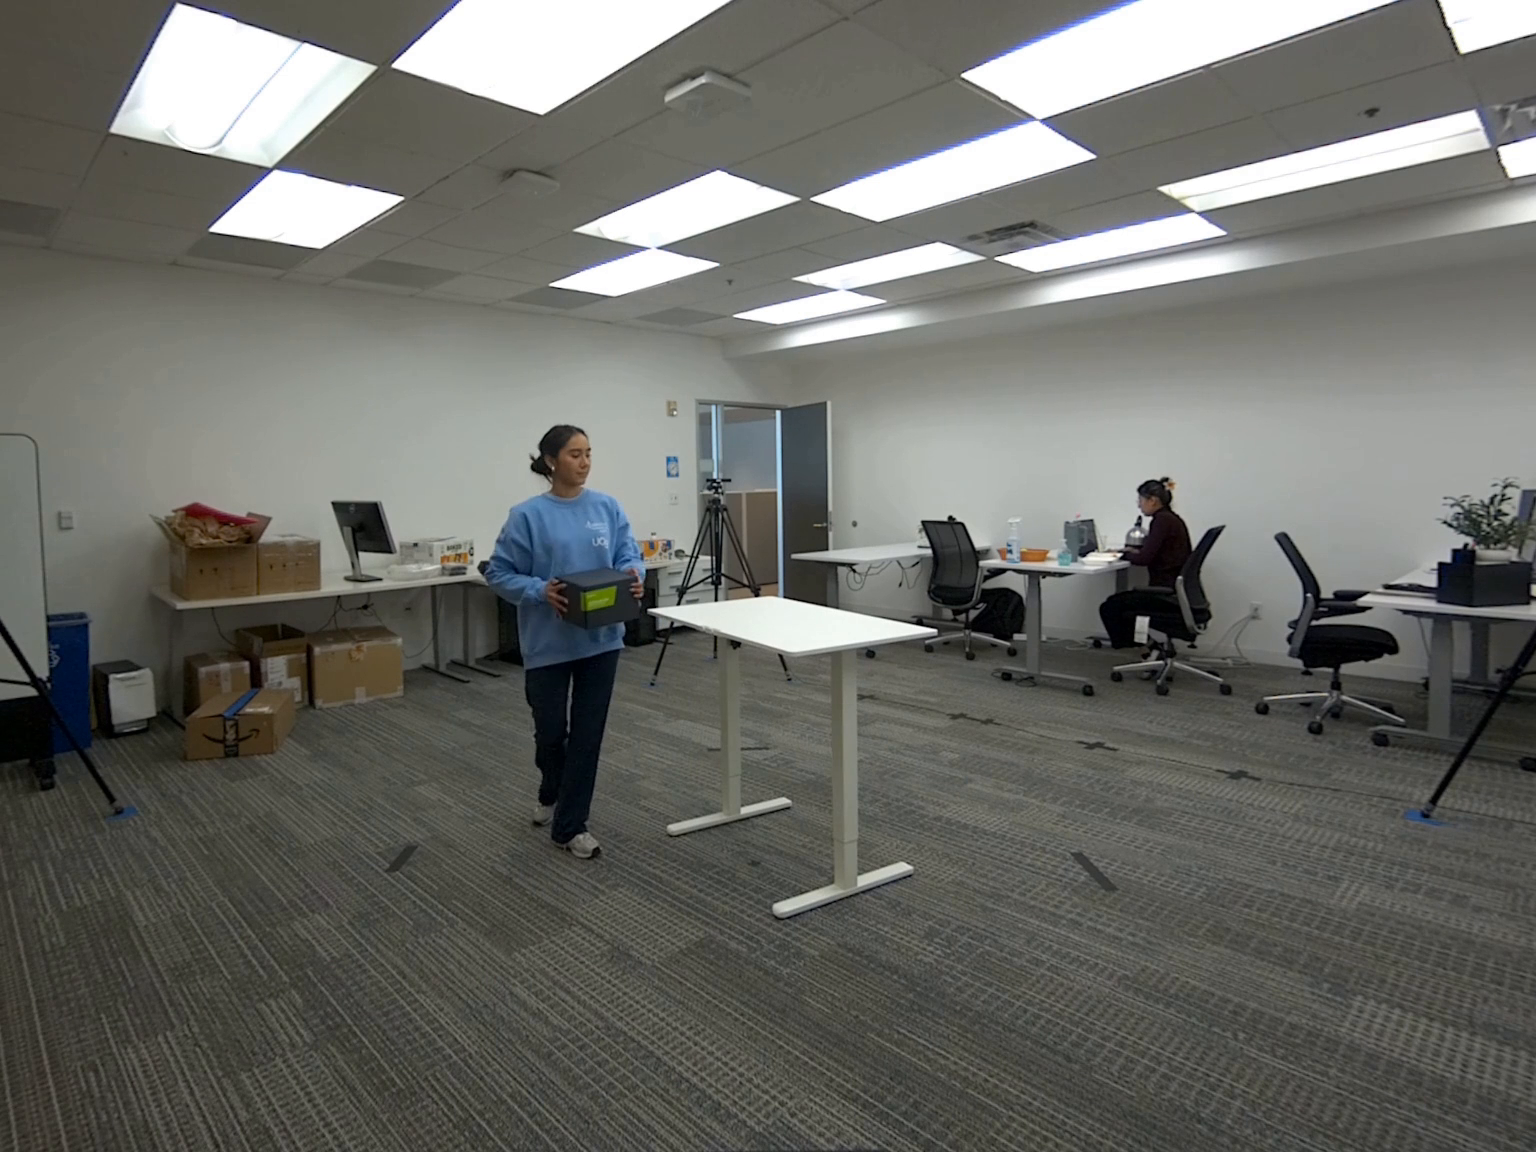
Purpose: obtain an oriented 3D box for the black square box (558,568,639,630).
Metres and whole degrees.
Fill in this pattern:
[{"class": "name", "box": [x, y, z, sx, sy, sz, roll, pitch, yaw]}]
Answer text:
[{"class": "black square box", "box": [-0.626, 0.076, 3.093, 0.223, 0.154, 0.224, -12, 15, -41]}]
